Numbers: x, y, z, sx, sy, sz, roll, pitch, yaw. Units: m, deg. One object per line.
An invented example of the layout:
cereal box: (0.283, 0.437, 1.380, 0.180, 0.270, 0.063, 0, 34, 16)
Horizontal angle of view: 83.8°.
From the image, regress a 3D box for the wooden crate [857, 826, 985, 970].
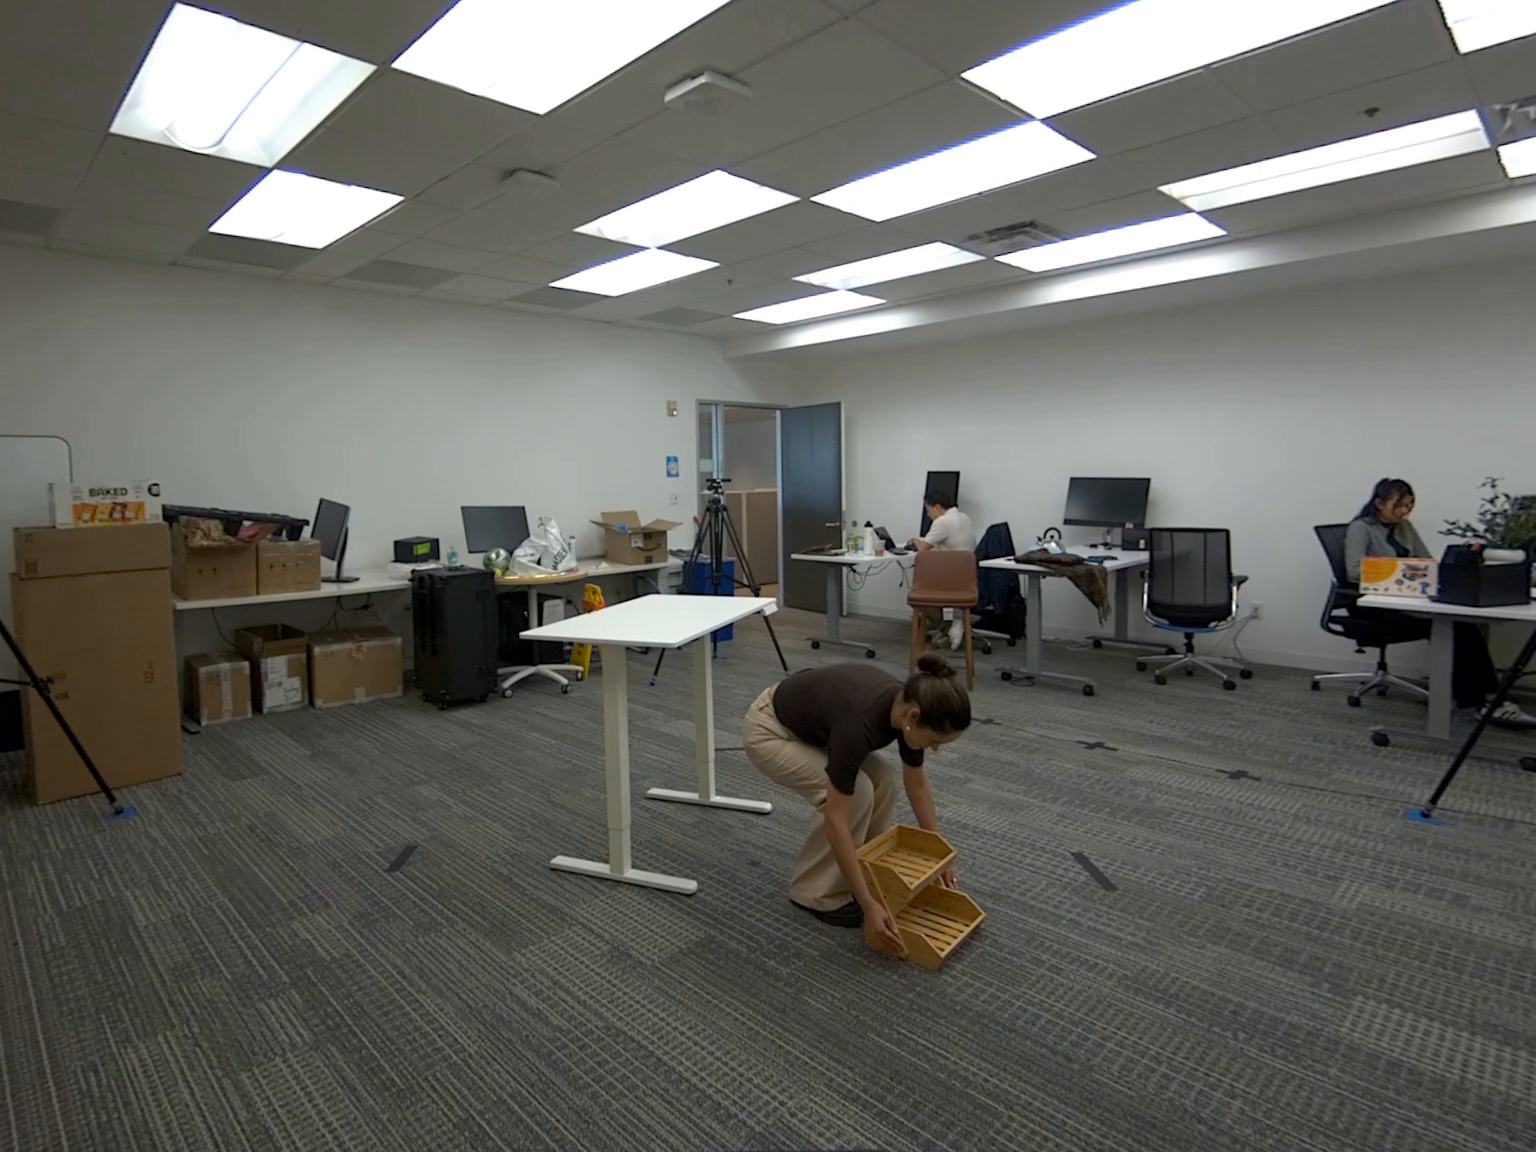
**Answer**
wooden crate: (0.458, 0.957, 2.598, 0.311, 0.272, 0.316, 1, 6, 38)
